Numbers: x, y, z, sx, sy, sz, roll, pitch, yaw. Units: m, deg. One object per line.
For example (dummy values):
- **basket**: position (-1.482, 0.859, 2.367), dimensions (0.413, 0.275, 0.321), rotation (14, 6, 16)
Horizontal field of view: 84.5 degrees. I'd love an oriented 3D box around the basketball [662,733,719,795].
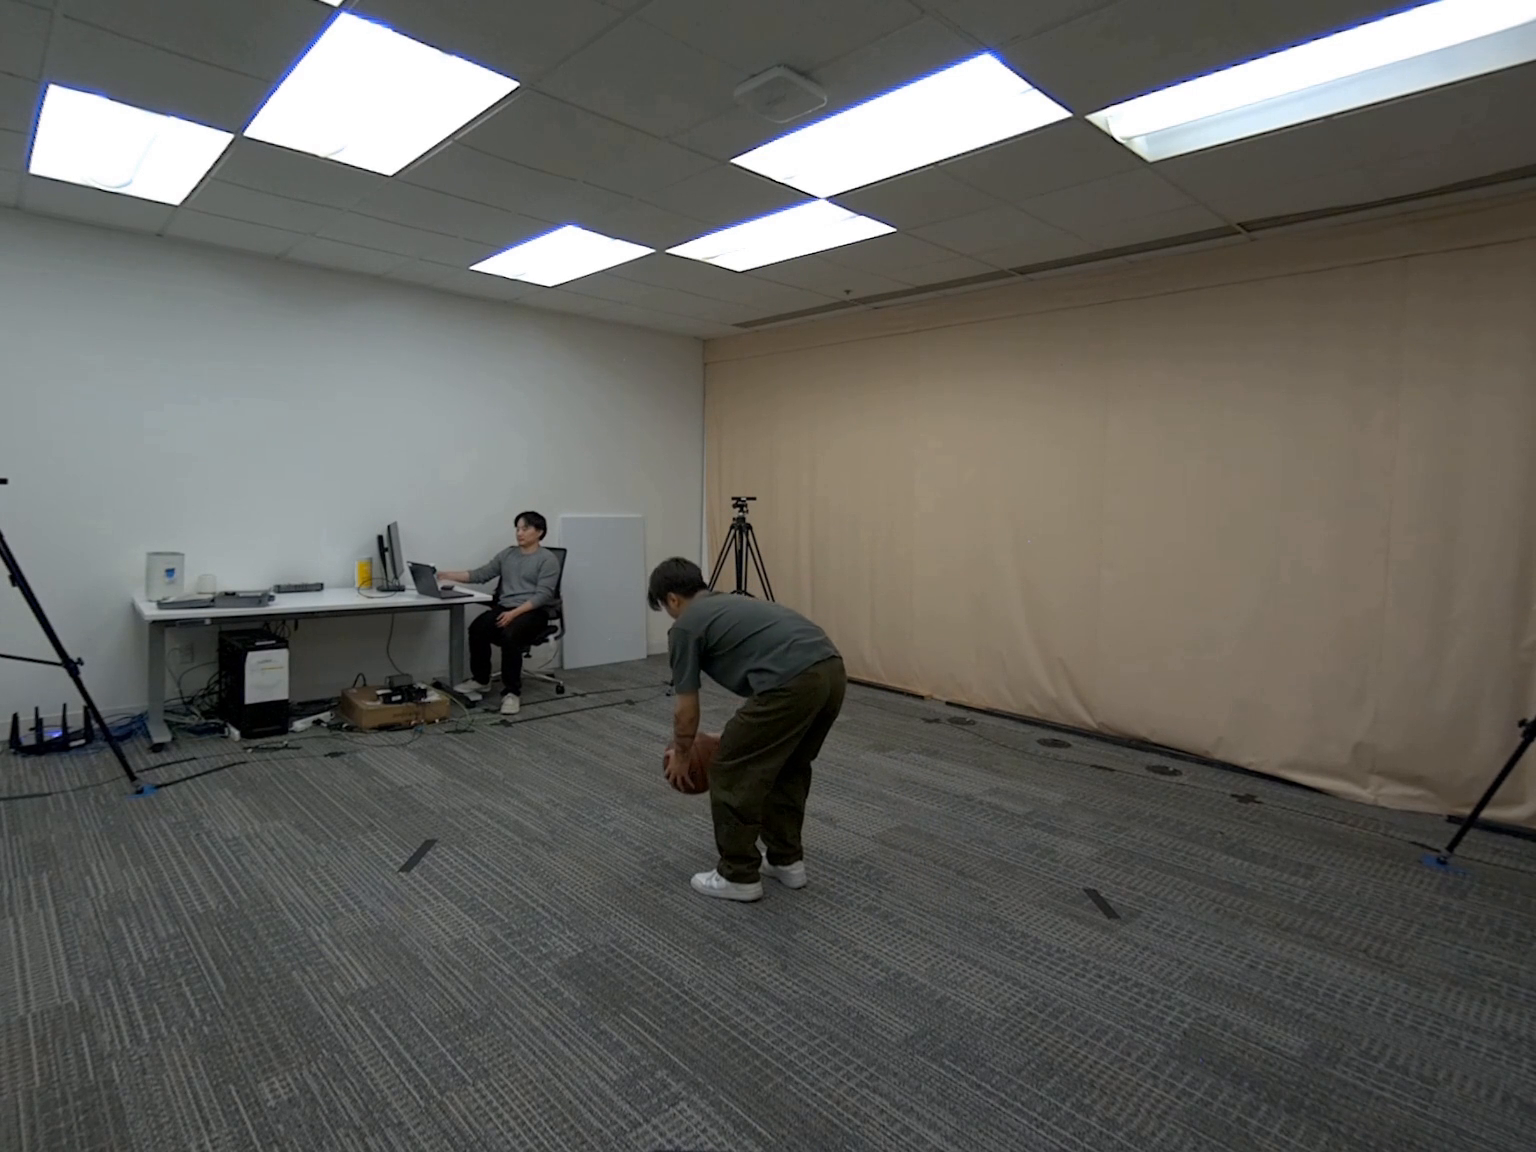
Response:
- **basketball**: position (-0.298, 0.727, 3.297), dimensions (0.236, 0.235, 0.237), rotation (1, 4, -1)
